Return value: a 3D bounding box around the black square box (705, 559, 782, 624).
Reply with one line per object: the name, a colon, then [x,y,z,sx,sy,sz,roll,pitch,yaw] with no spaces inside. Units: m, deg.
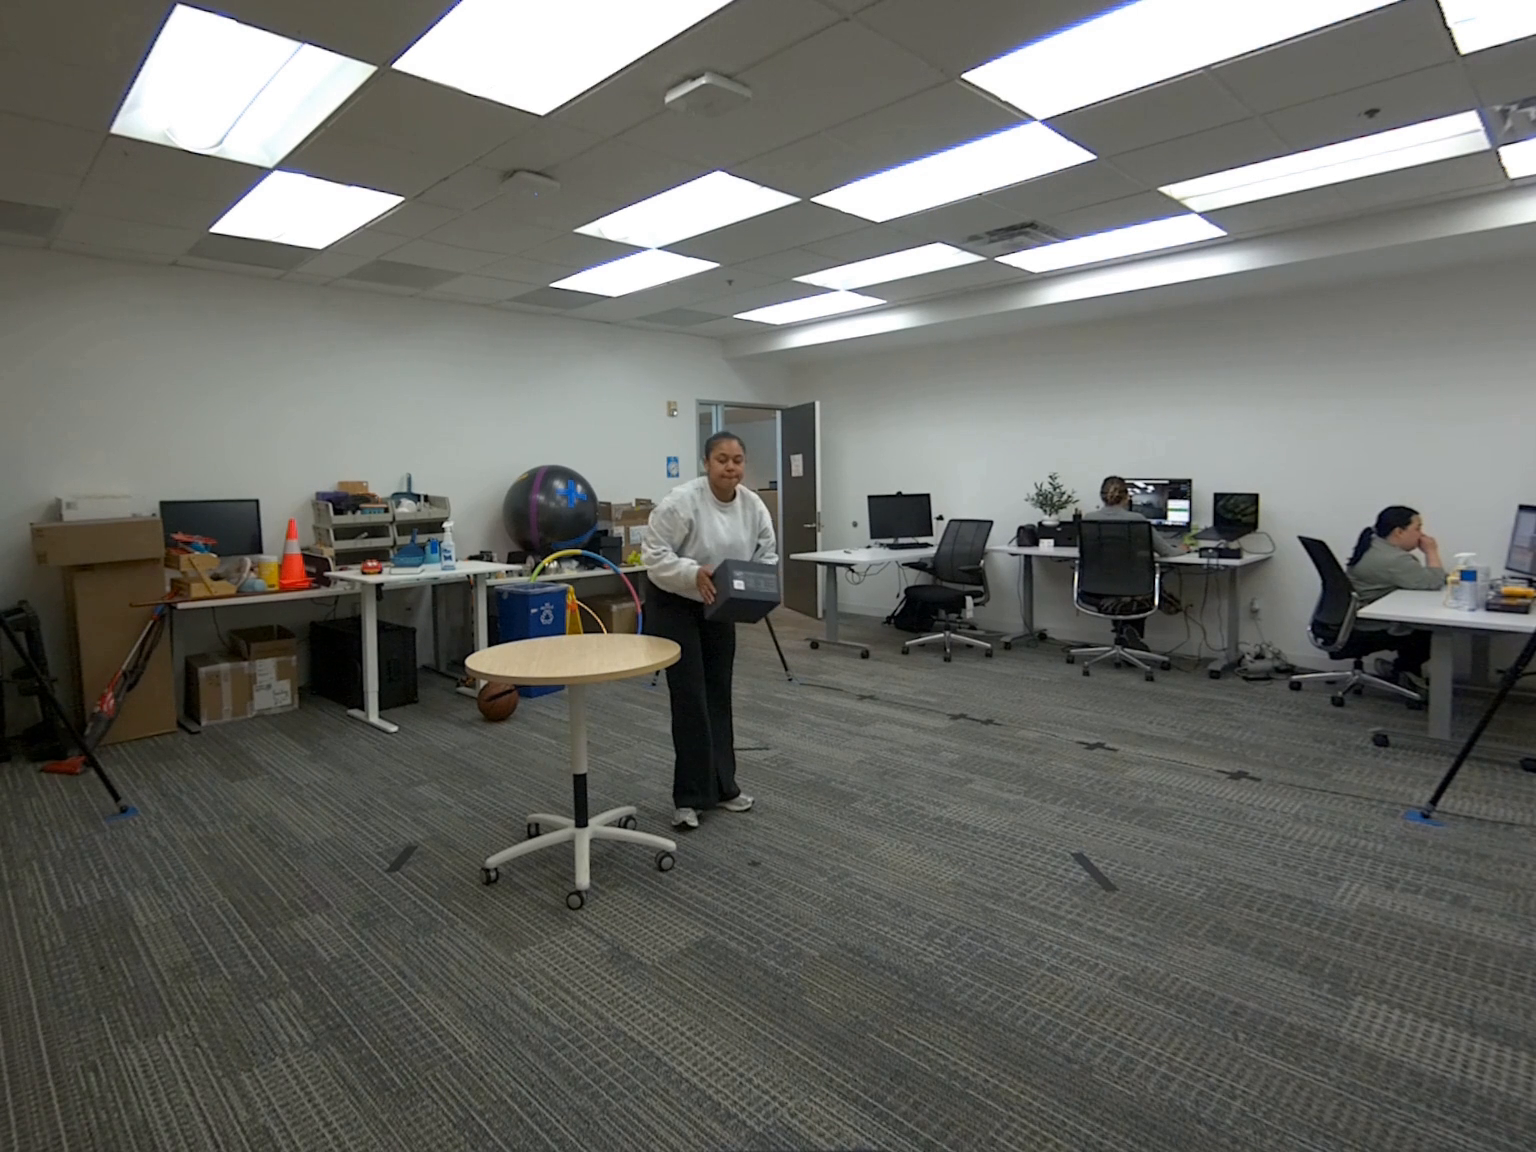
black square box: [-0.107,0.070,3.222,0.212,0.160,0.227,6,-28,-23]
